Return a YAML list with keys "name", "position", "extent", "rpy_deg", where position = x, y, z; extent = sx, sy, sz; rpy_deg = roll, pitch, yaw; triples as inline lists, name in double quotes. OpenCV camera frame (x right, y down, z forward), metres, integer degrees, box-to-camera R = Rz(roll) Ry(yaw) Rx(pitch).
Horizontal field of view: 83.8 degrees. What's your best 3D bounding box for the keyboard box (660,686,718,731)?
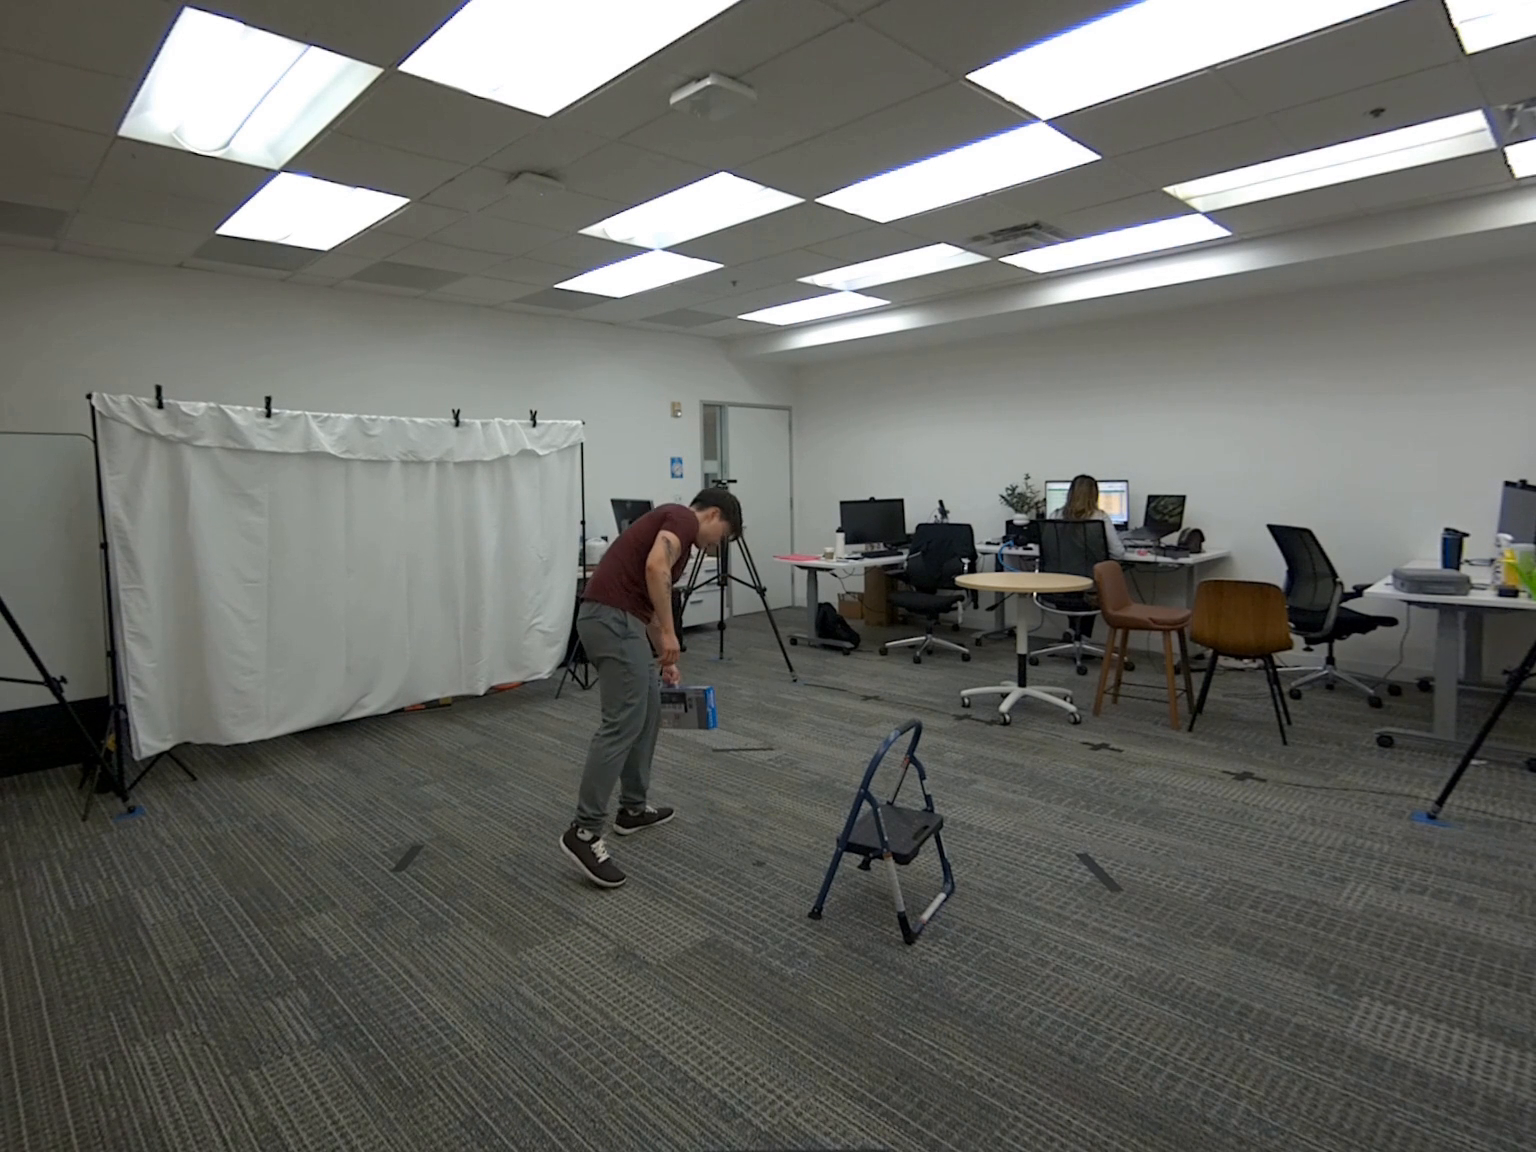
- name: "keyboard box"
  position: [-0.420, 0.574, 3.680]
  extent: [0.447, 0.176, 0.057]
  rpy_deg: [-5, -2, 35]
